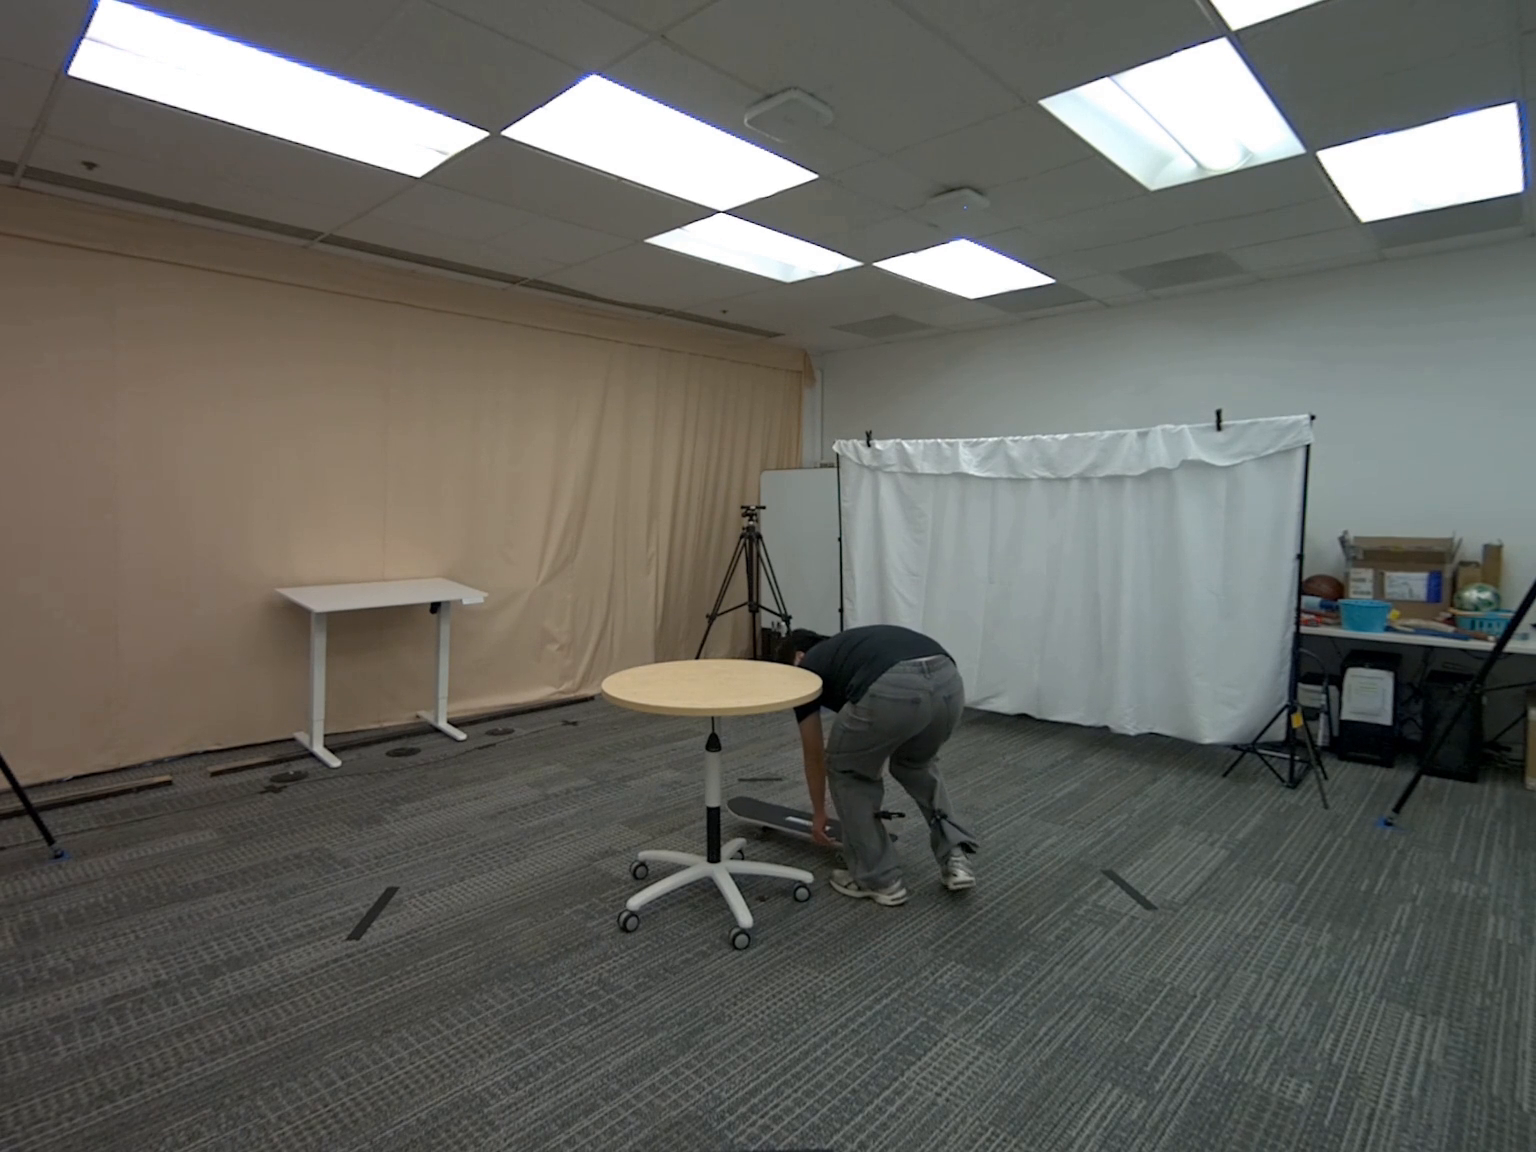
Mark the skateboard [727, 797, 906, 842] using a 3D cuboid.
[{"bbox_3d":[0.171,1.042,3.449,0.810,0.110,0.188,3,7,35],"label":"skateboard"}]
